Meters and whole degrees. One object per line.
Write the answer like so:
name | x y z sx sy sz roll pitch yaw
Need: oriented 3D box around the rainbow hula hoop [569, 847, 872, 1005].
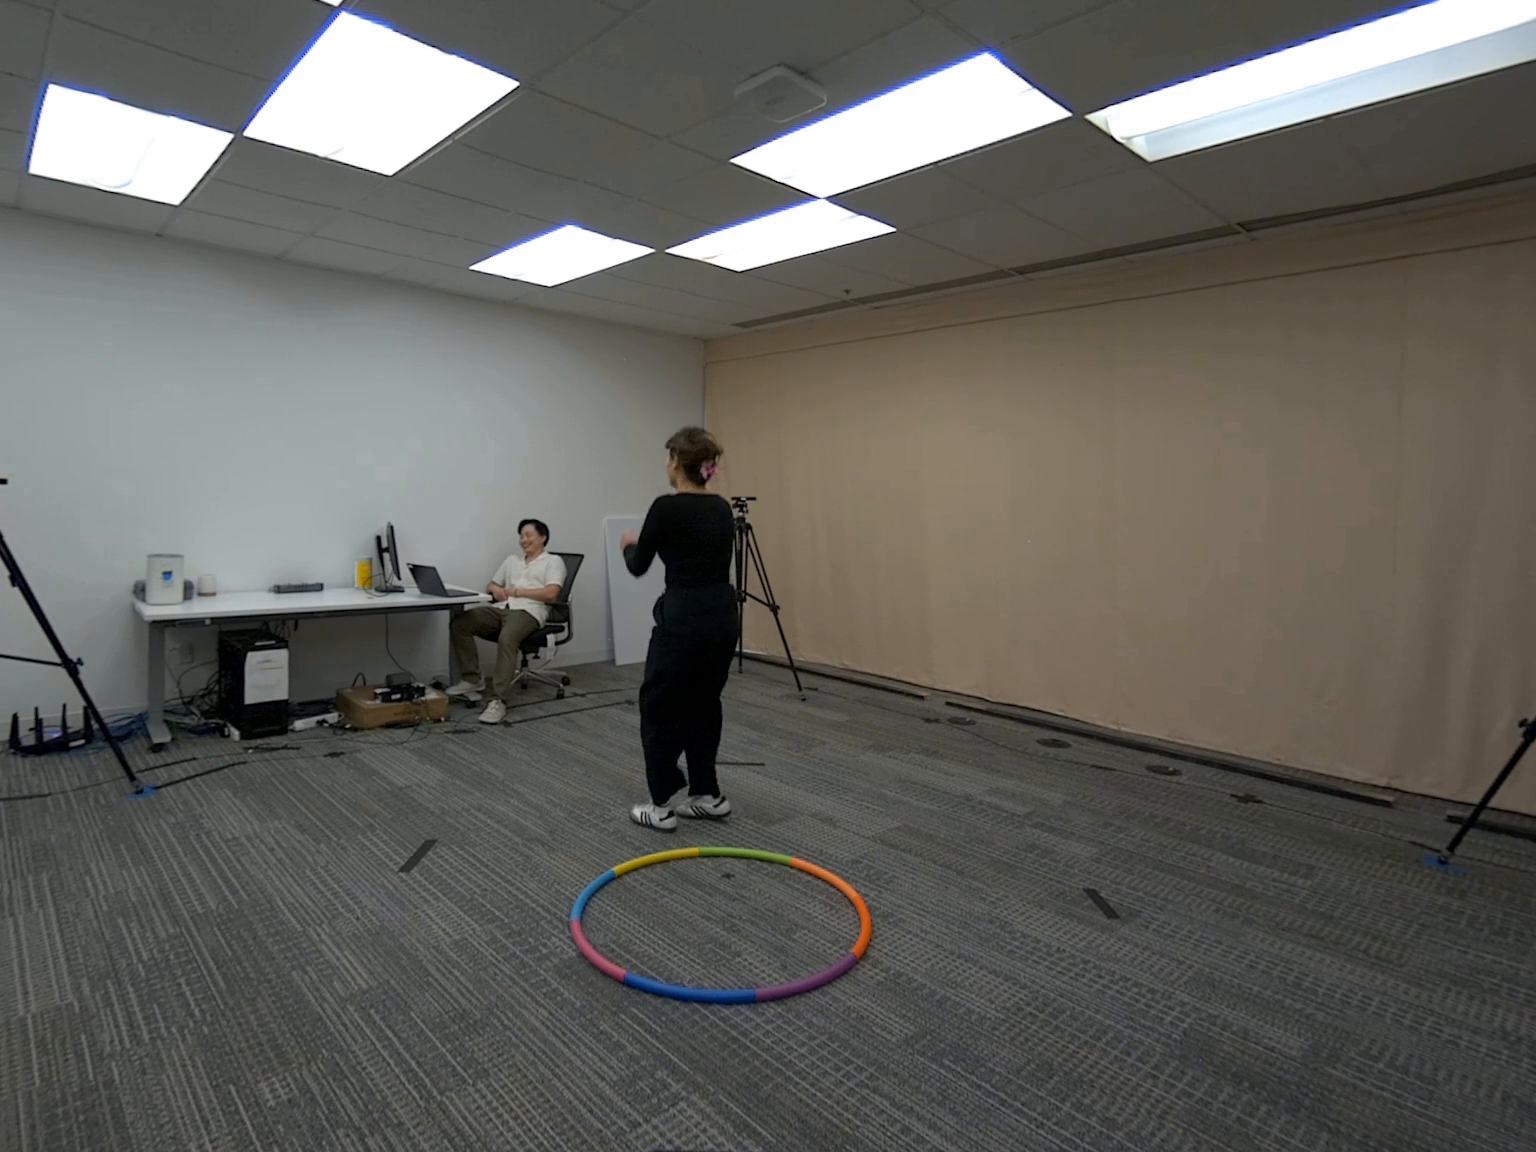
rainbow hula hoop | -0.165 1.106 2.800 0.978 0.035 0.982 1 5 -1
